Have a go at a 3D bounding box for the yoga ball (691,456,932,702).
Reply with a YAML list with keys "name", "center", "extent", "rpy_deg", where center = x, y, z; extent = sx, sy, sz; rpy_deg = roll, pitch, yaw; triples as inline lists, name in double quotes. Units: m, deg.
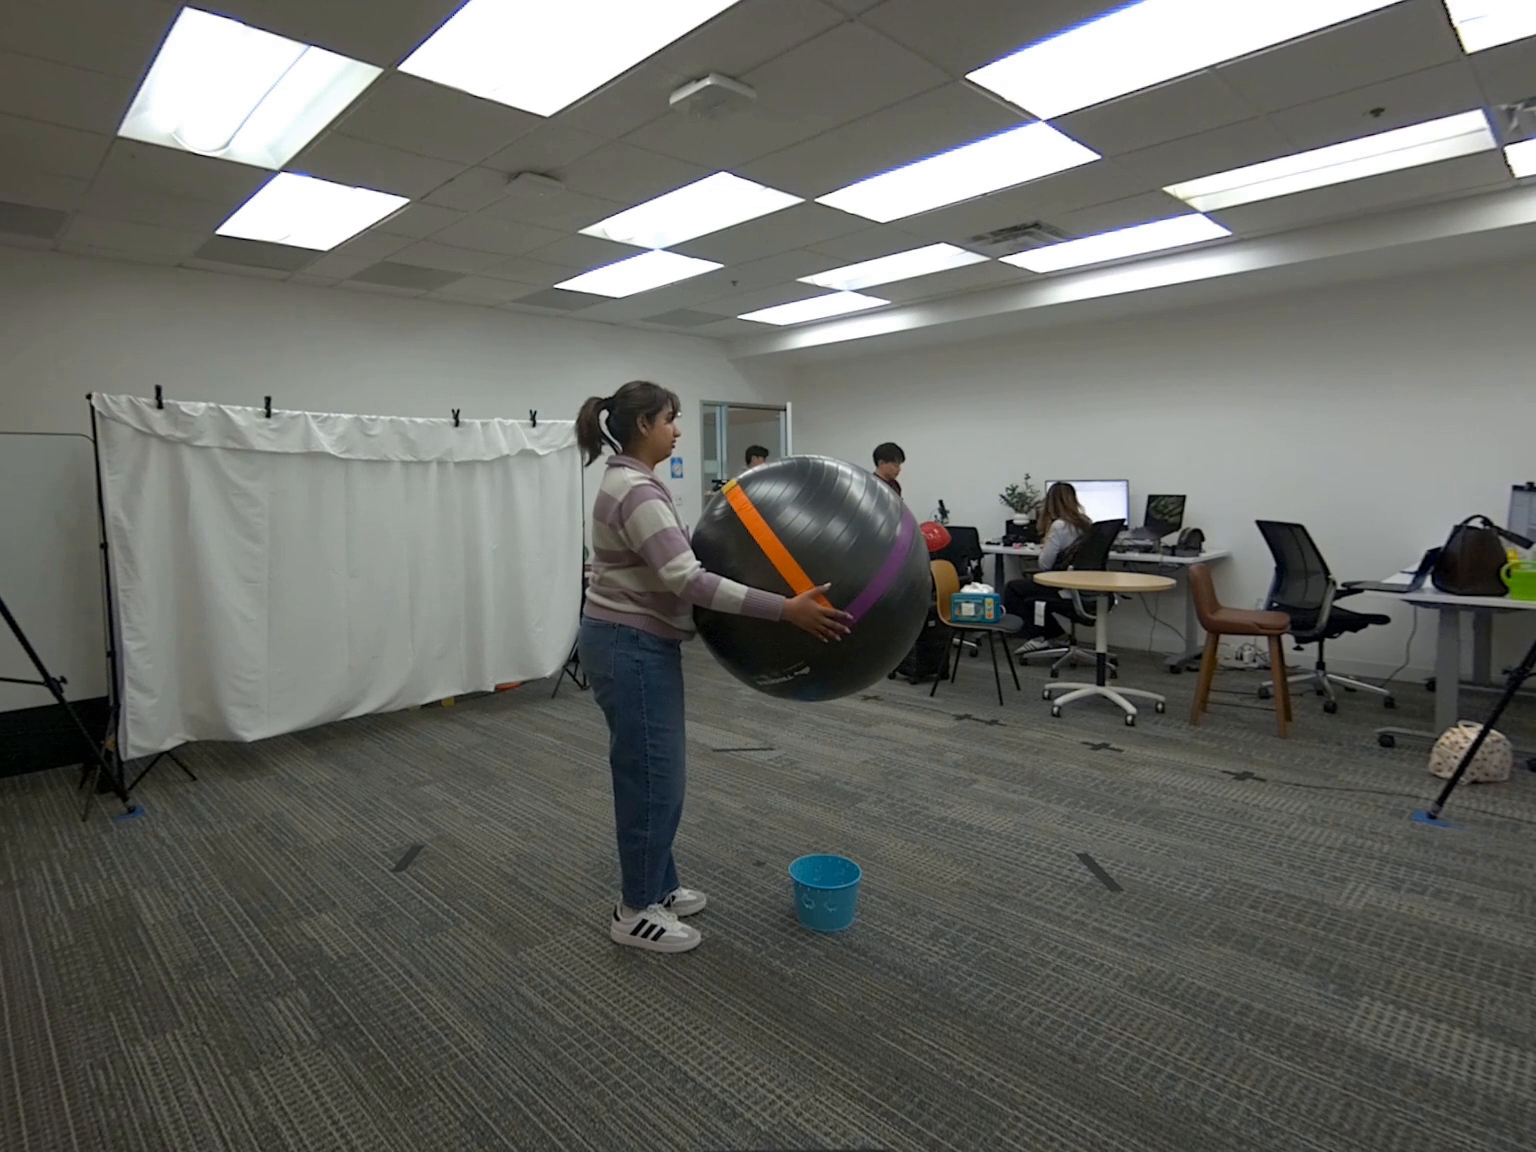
- name: "yoga ball"
  center: [0.128, 0.010, 2.641]
  extent: [0.757, 0.755, 0.762]
  rpy_deg: [-1, 5, -2]
